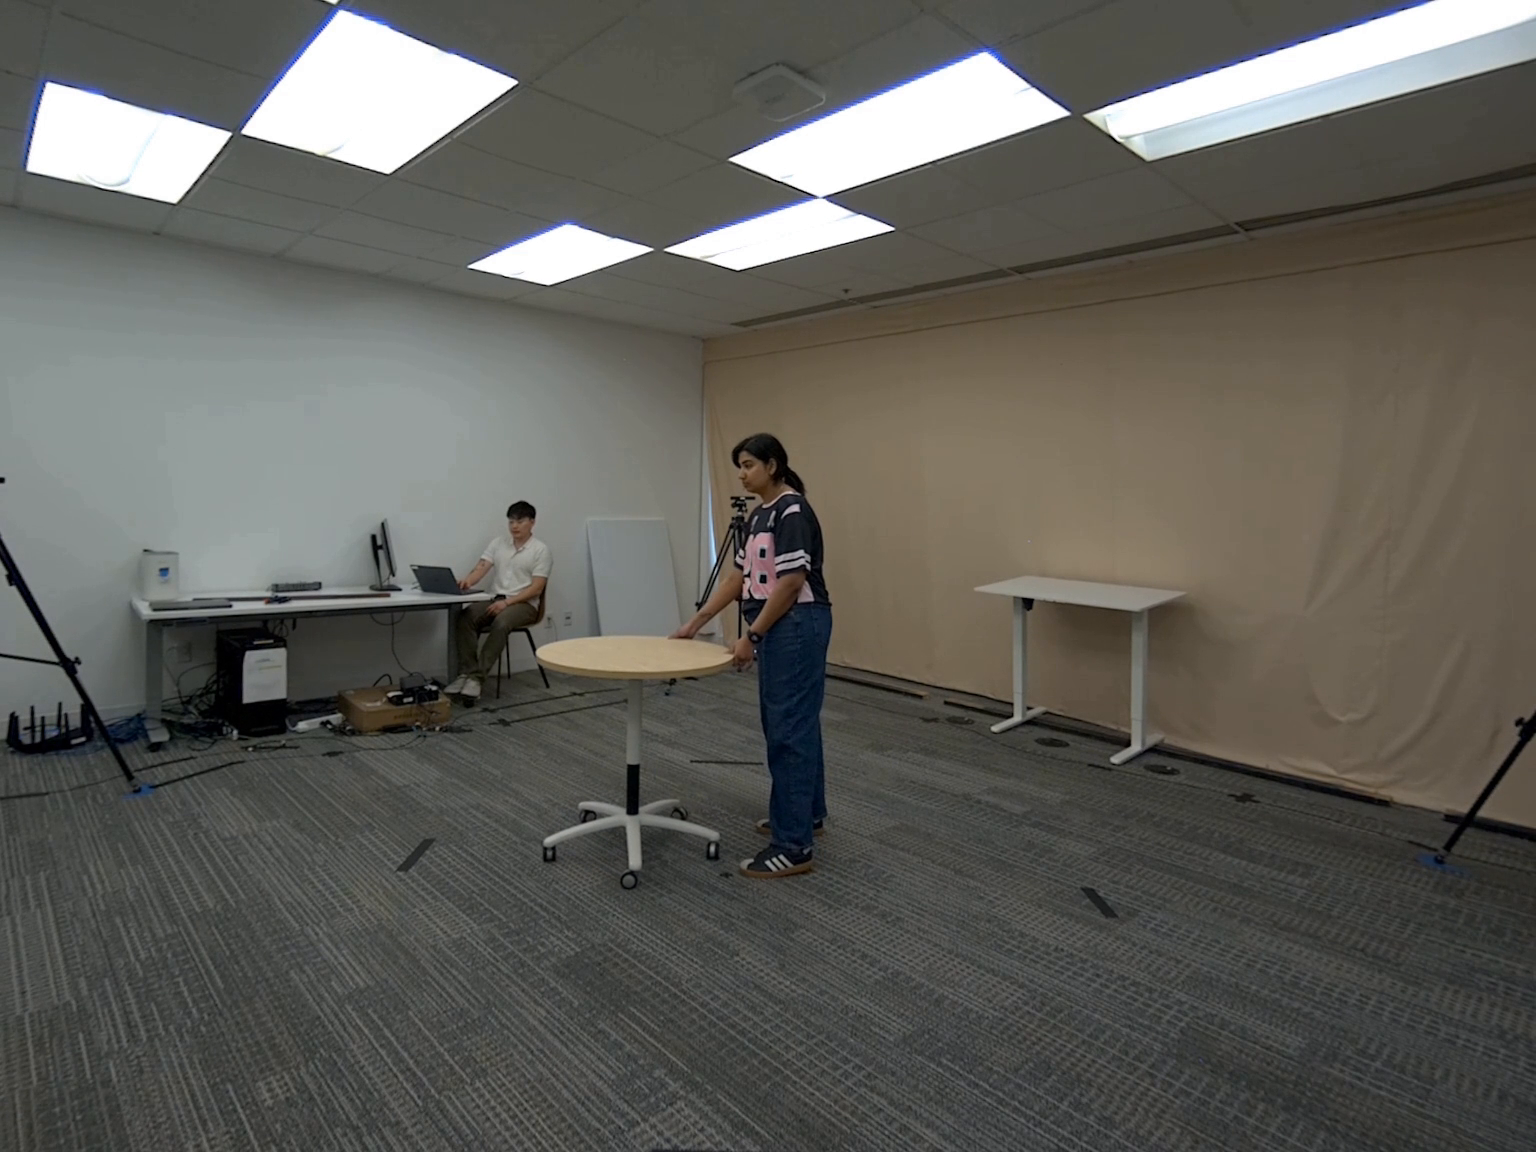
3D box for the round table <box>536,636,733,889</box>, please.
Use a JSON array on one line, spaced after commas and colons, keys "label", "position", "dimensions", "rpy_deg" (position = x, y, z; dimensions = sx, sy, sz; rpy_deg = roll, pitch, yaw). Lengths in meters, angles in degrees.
[{"label": "round table", "position": [-0.532, 0.686, 3.299], "dimensions": [0.763, 0.792, 0.766], "rpy_deg": [2, 4, -1]}]
